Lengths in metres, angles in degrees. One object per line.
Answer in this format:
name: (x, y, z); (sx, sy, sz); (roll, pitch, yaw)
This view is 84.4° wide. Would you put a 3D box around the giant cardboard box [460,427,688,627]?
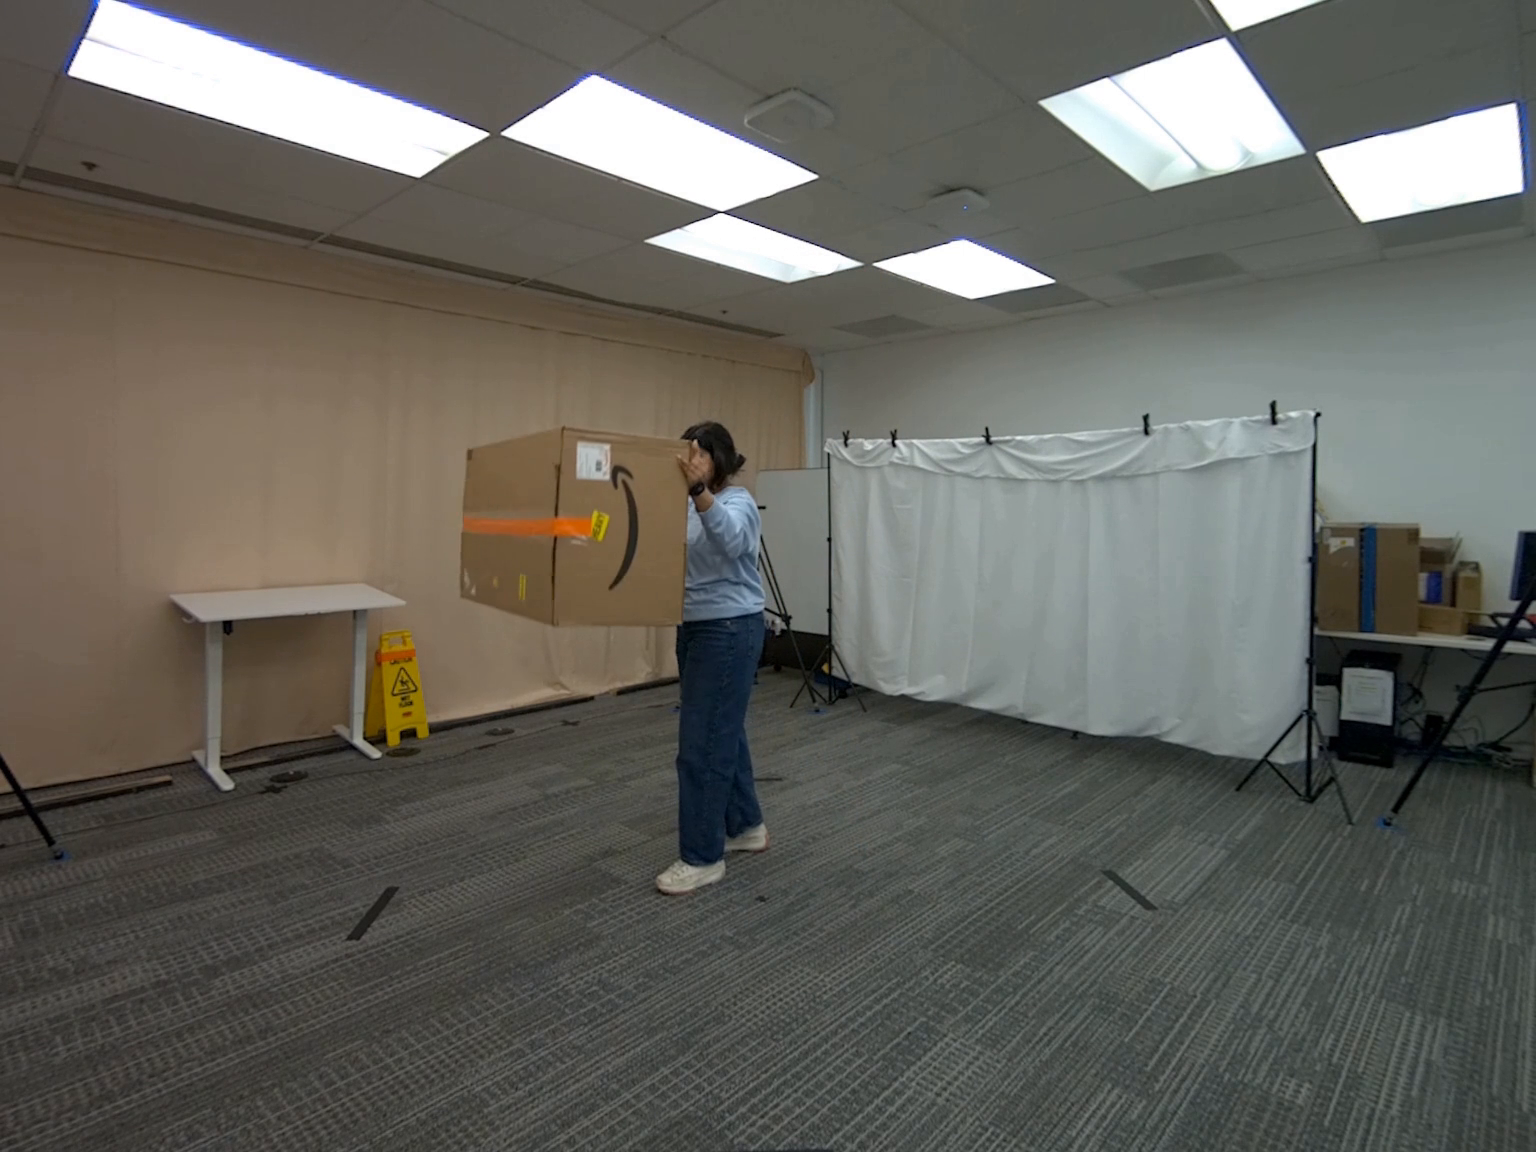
giant cardboard box: (-0.709, -0.172, 2.923); (0.413, 0.577, 1.057); (2, 2, -34)
